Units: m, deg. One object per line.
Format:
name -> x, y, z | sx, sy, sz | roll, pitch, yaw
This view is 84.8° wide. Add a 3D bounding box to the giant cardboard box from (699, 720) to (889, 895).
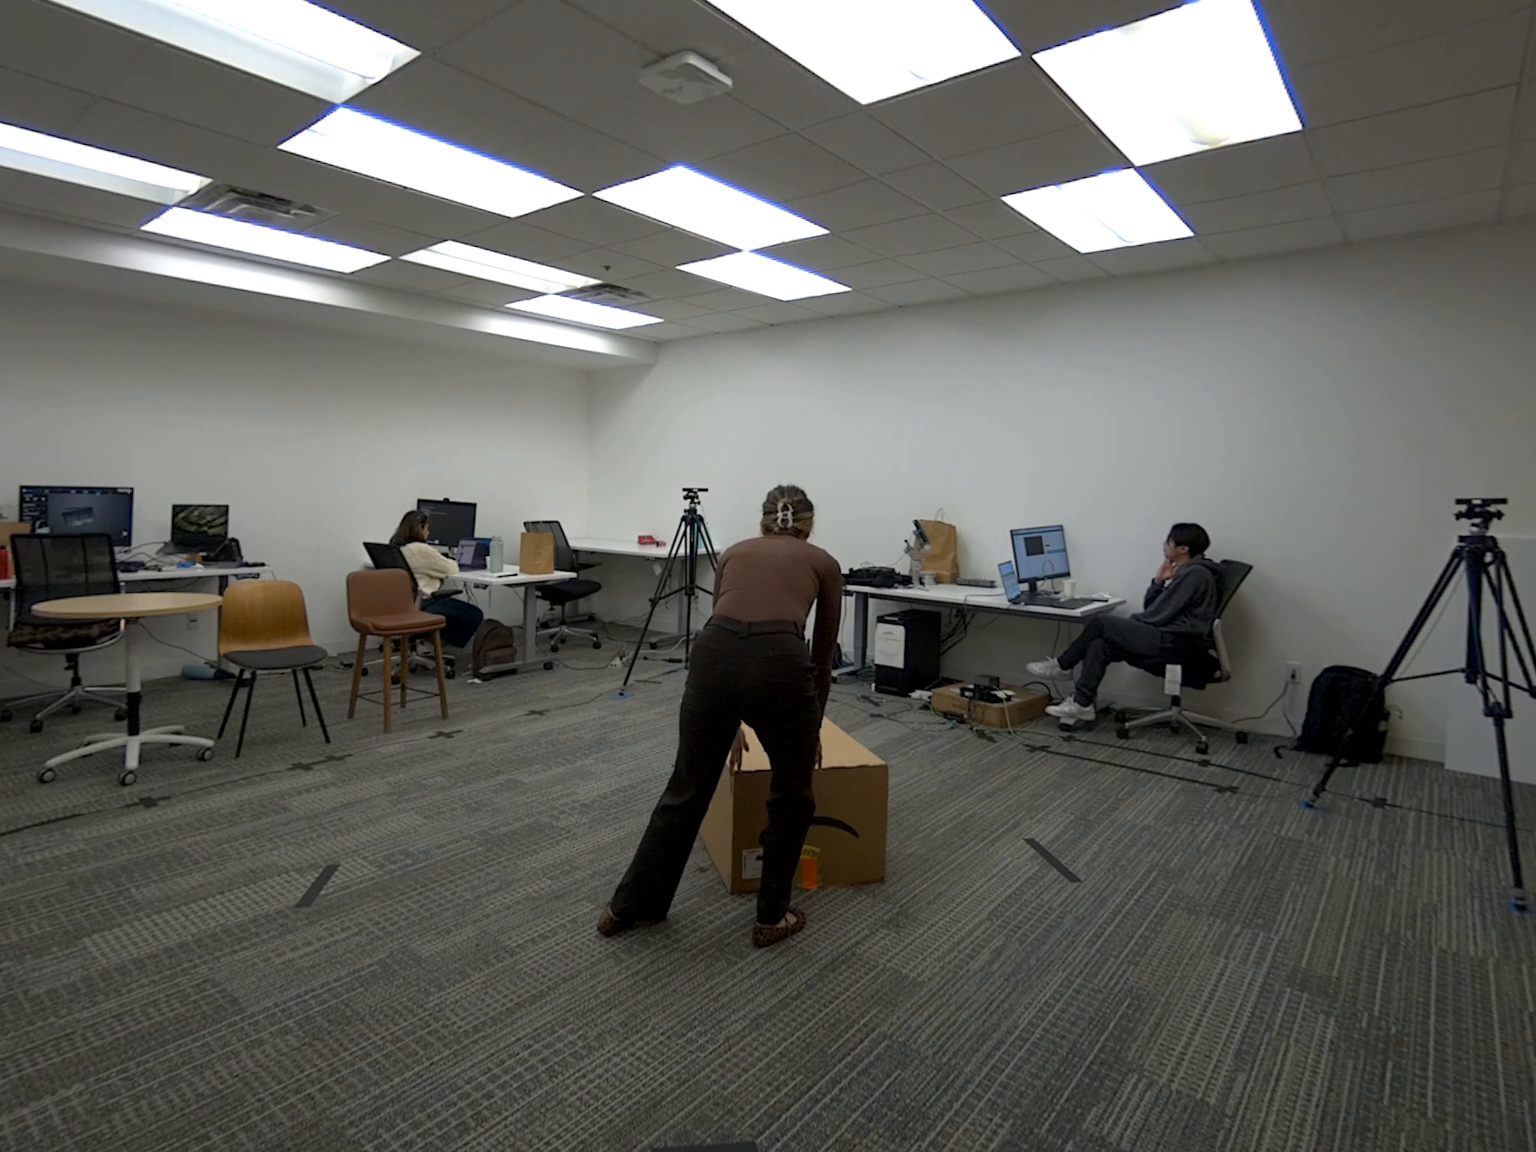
giant cardboard box -> -0.002, 0.822, 3.455 | 0.575, 0.445, 1.047 | 1, 6, -15
